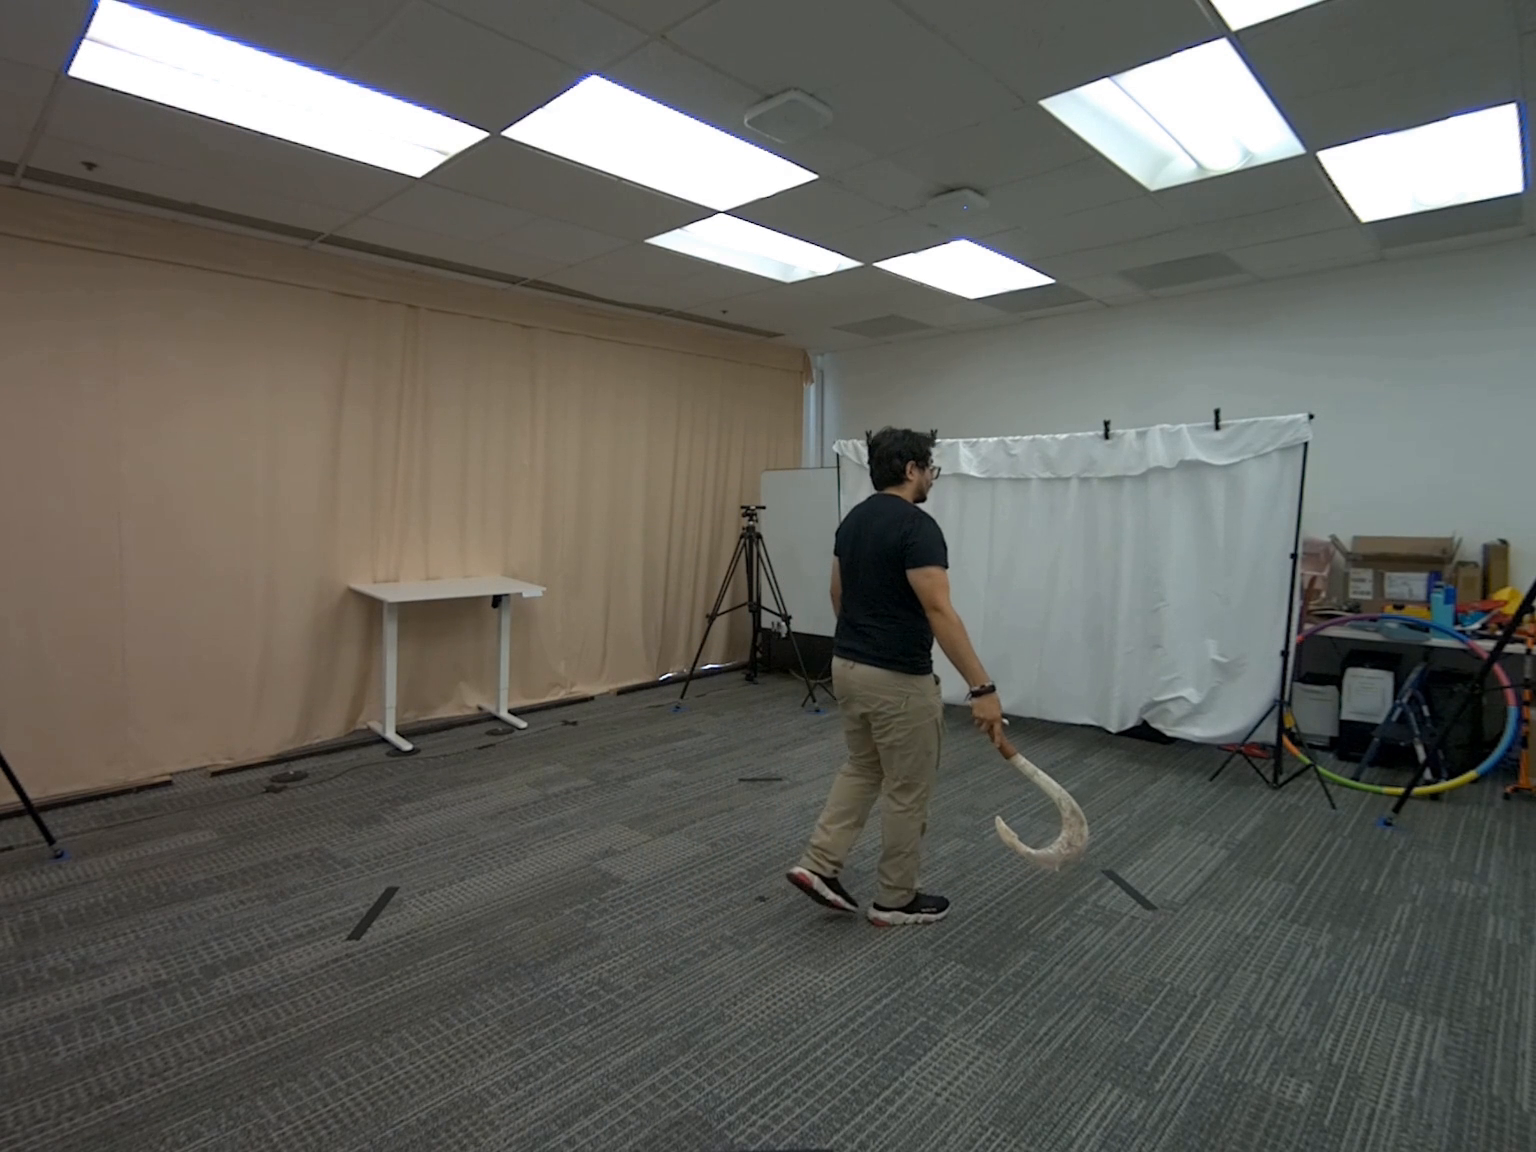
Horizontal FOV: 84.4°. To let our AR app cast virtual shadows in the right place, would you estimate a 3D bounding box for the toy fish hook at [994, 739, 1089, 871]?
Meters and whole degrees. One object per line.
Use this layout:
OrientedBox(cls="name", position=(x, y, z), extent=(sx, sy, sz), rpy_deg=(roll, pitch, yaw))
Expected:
OrientedBox(cls="toy fish hook", position=(0.698, 0.577, 2.379), extent=(0.224, 0.518, 0.047), rpy_deg=(-32, -21, -7))
